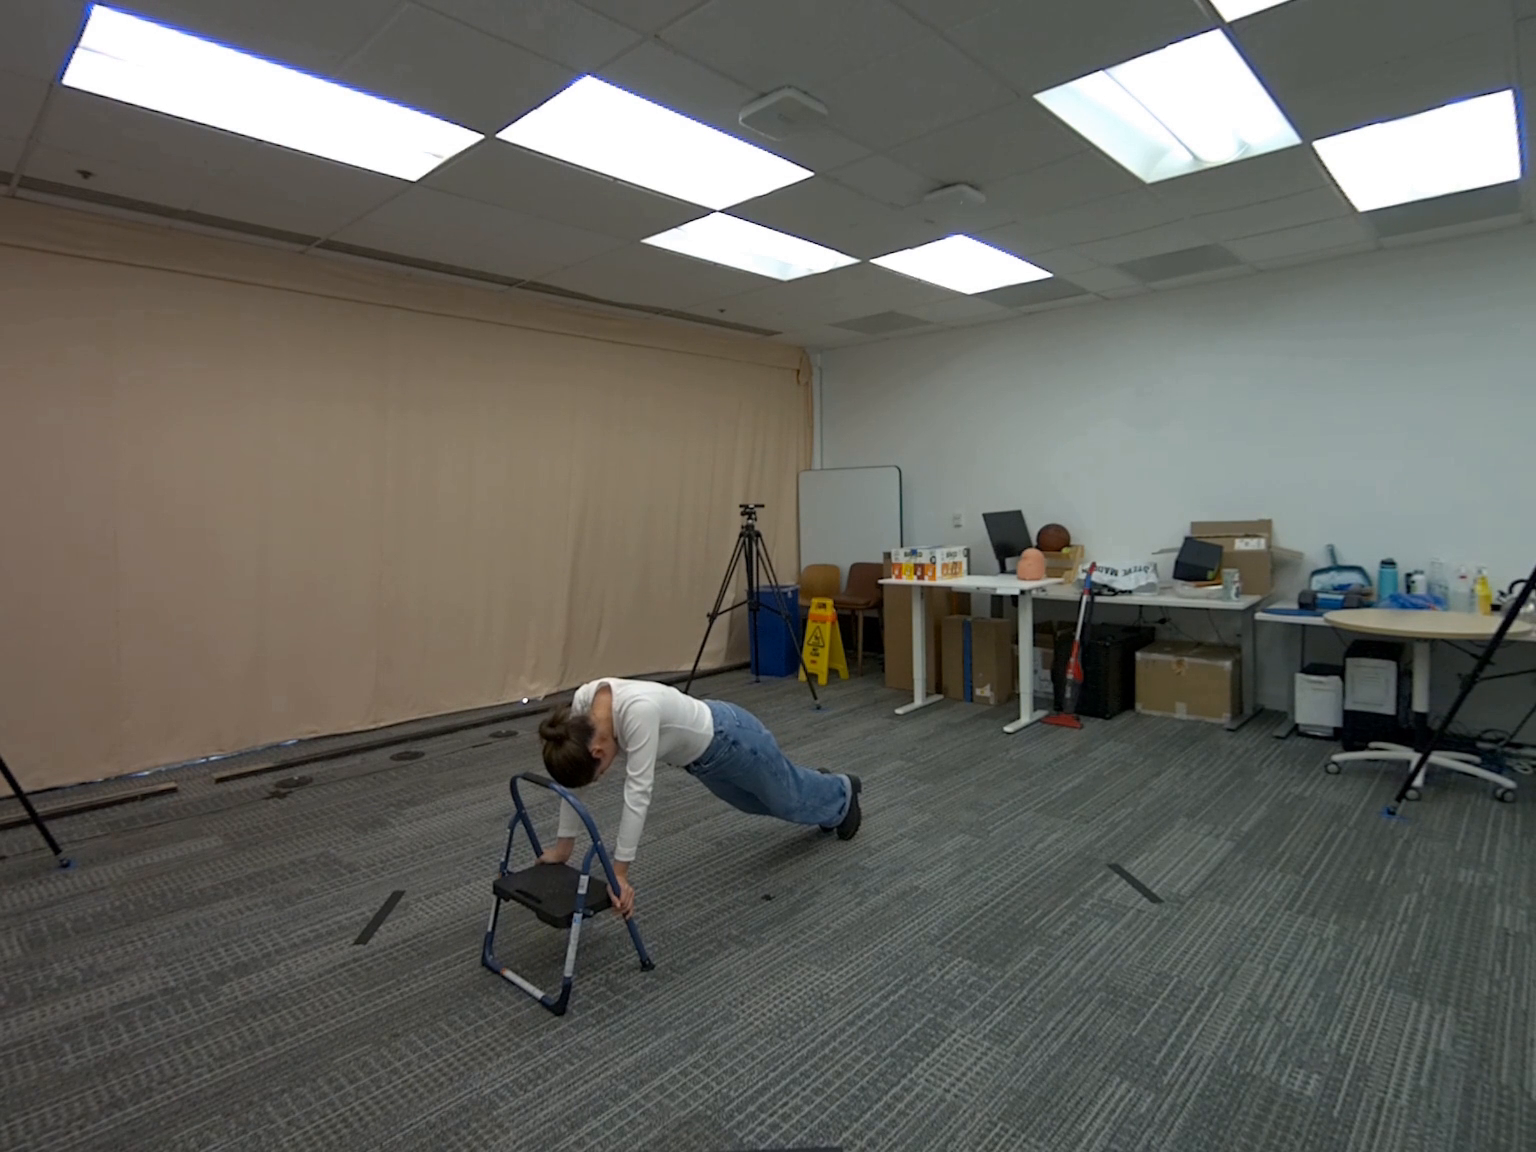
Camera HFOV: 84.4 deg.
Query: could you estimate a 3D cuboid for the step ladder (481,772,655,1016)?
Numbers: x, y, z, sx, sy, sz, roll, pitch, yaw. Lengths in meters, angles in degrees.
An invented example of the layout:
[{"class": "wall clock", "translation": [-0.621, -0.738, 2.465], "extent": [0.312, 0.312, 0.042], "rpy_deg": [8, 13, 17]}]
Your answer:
[{"class": "step ladder", "translation": [-0.622, 0.892, 2.547], "extent": [0.445, 0.605, 0.339], "rpy_deg": [2, 4, 41]}]
